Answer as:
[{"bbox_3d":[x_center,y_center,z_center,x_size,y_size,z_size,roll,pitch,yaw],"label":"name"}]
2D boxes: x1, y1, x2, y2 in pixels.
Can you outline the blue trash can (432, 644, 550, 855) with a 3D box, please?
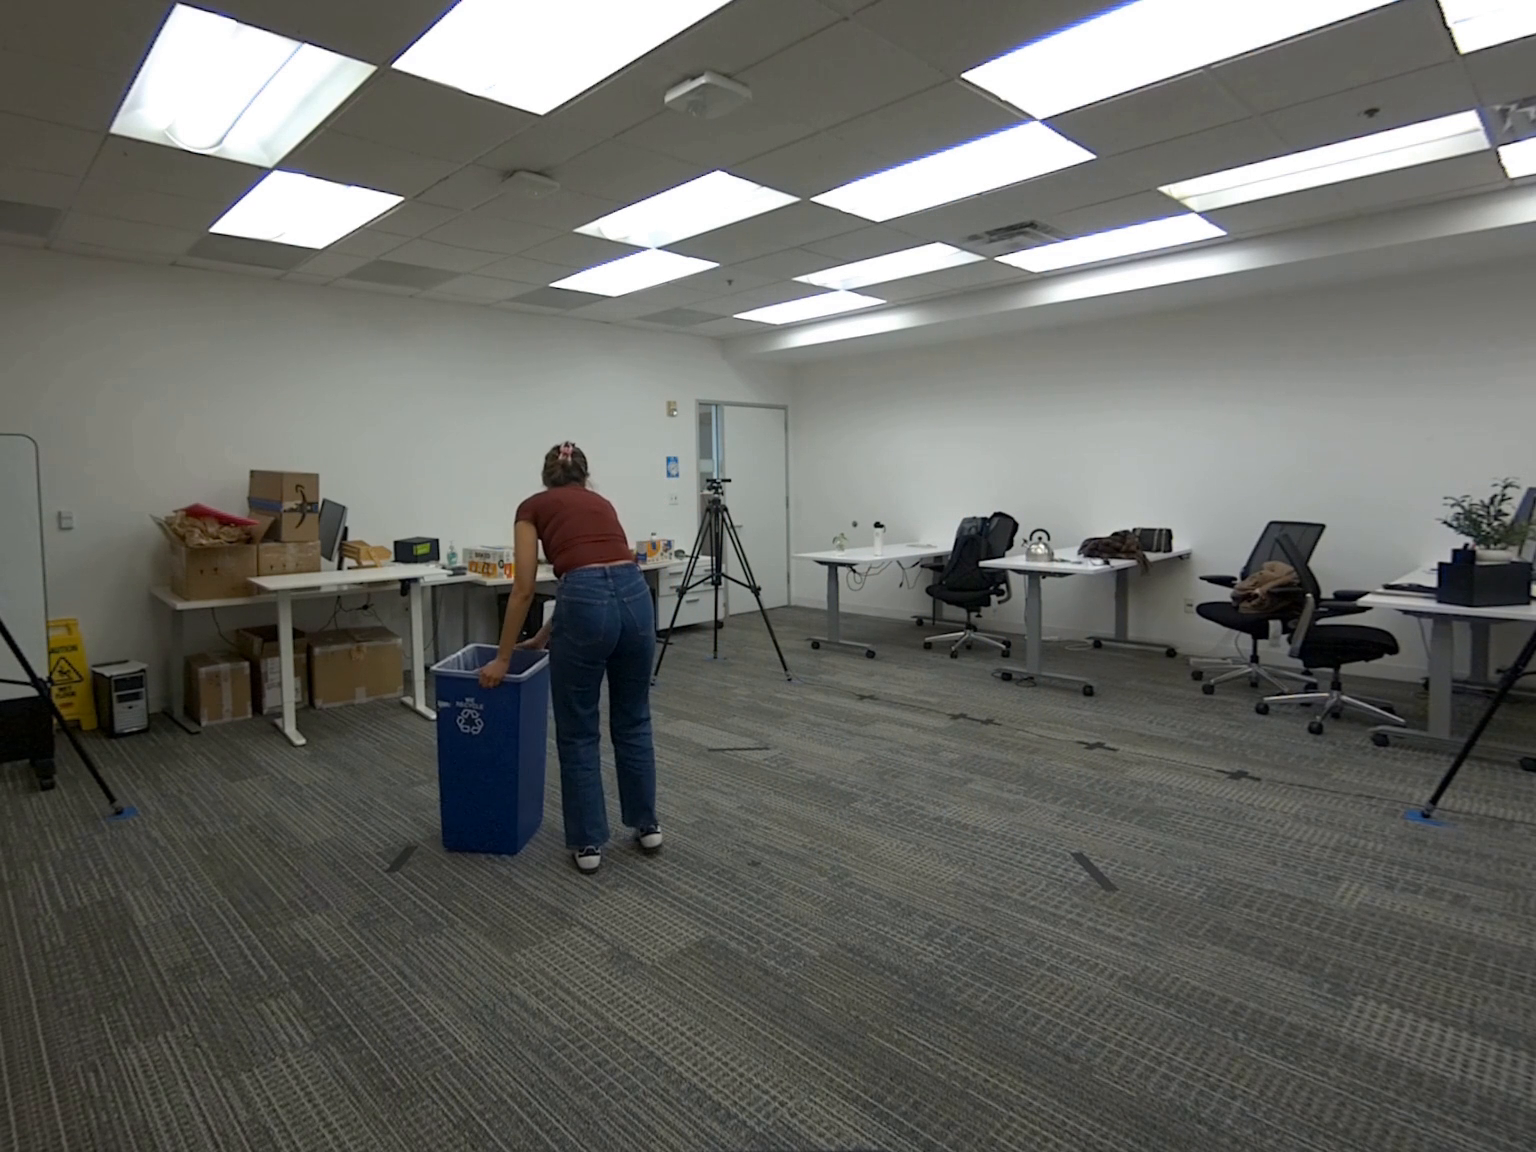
[{"bbox_3d":[-1.056,0.674,3.352,0.377,0.709,0.378,1,7,7],"label":"blue trash can"}]
